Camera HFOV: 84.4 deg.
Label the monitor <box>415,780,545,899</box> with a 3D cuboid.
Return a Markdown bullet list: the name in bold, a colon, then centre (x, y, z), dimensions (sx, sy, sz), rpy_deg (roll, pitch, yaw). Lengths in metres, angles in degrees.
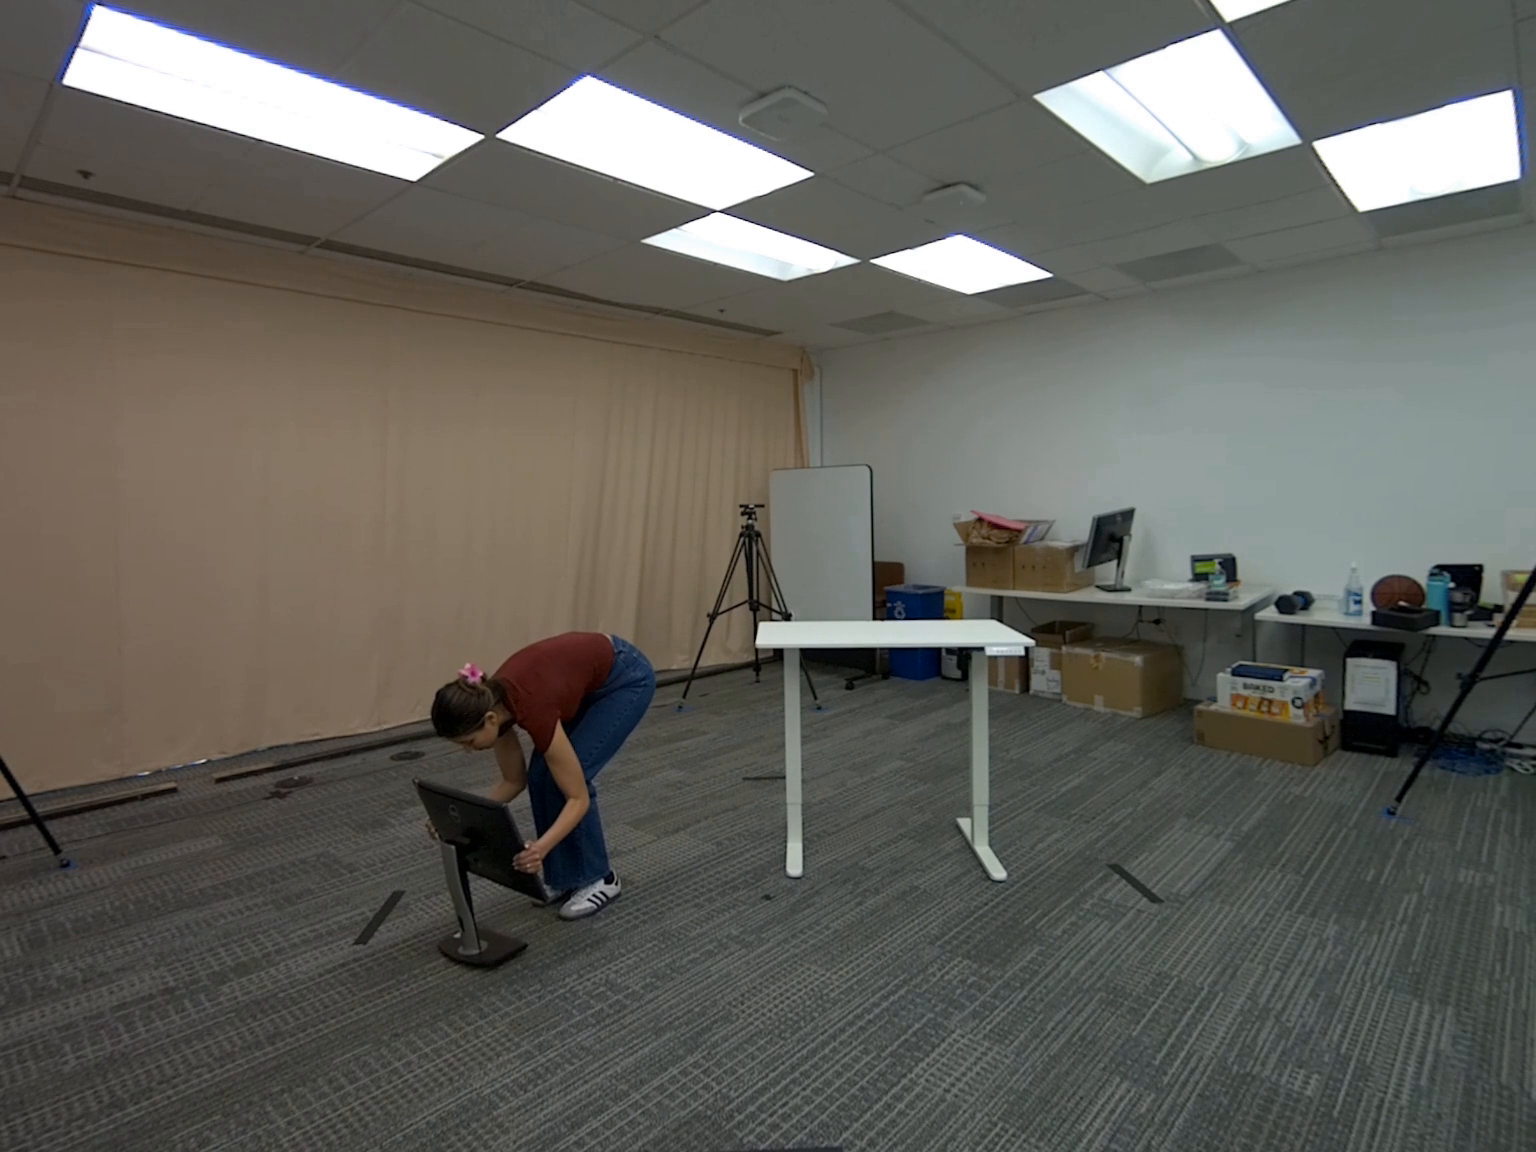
- **monitor**: centre (-0.932, 0.919, 2.649), dimensions (0.556, 0.521, 0.182), rpy_deg (-2, 4, 38)
